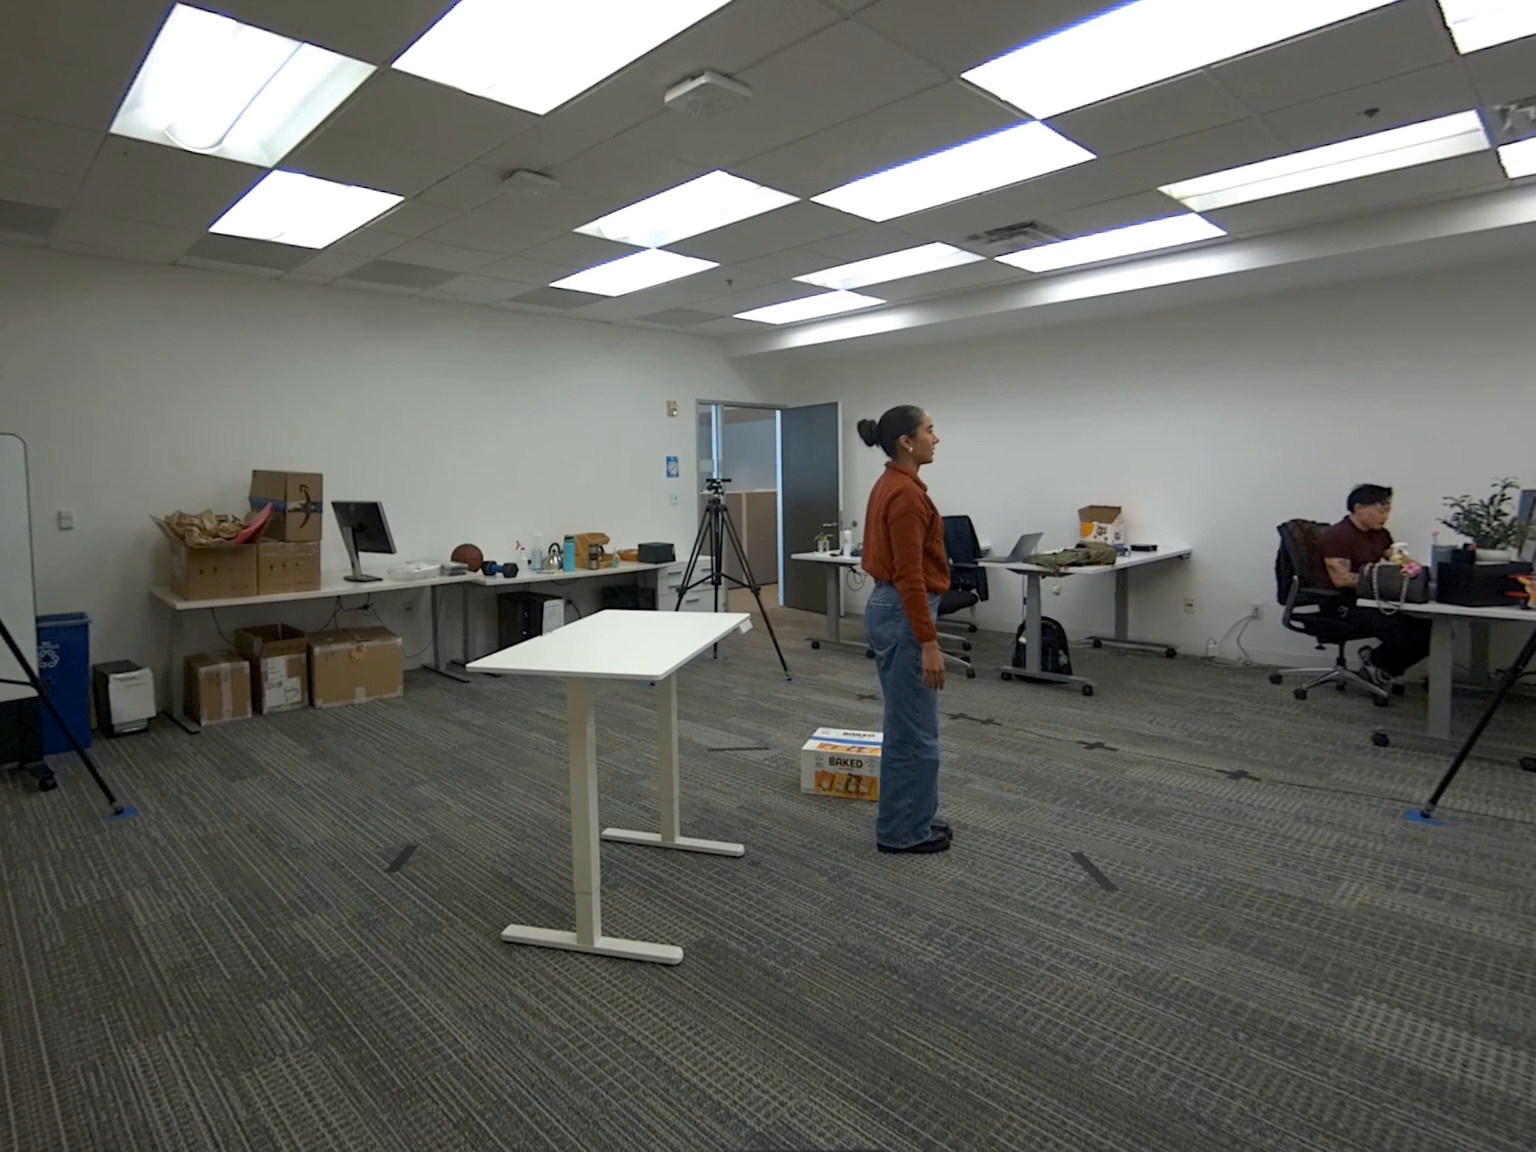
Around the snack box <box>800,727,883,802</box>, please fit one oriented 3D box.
[{"bbox_3d":[0.390,0.849,3.876,0.412,0.205,0.336,1,6,18],"label":"snack box"}]
